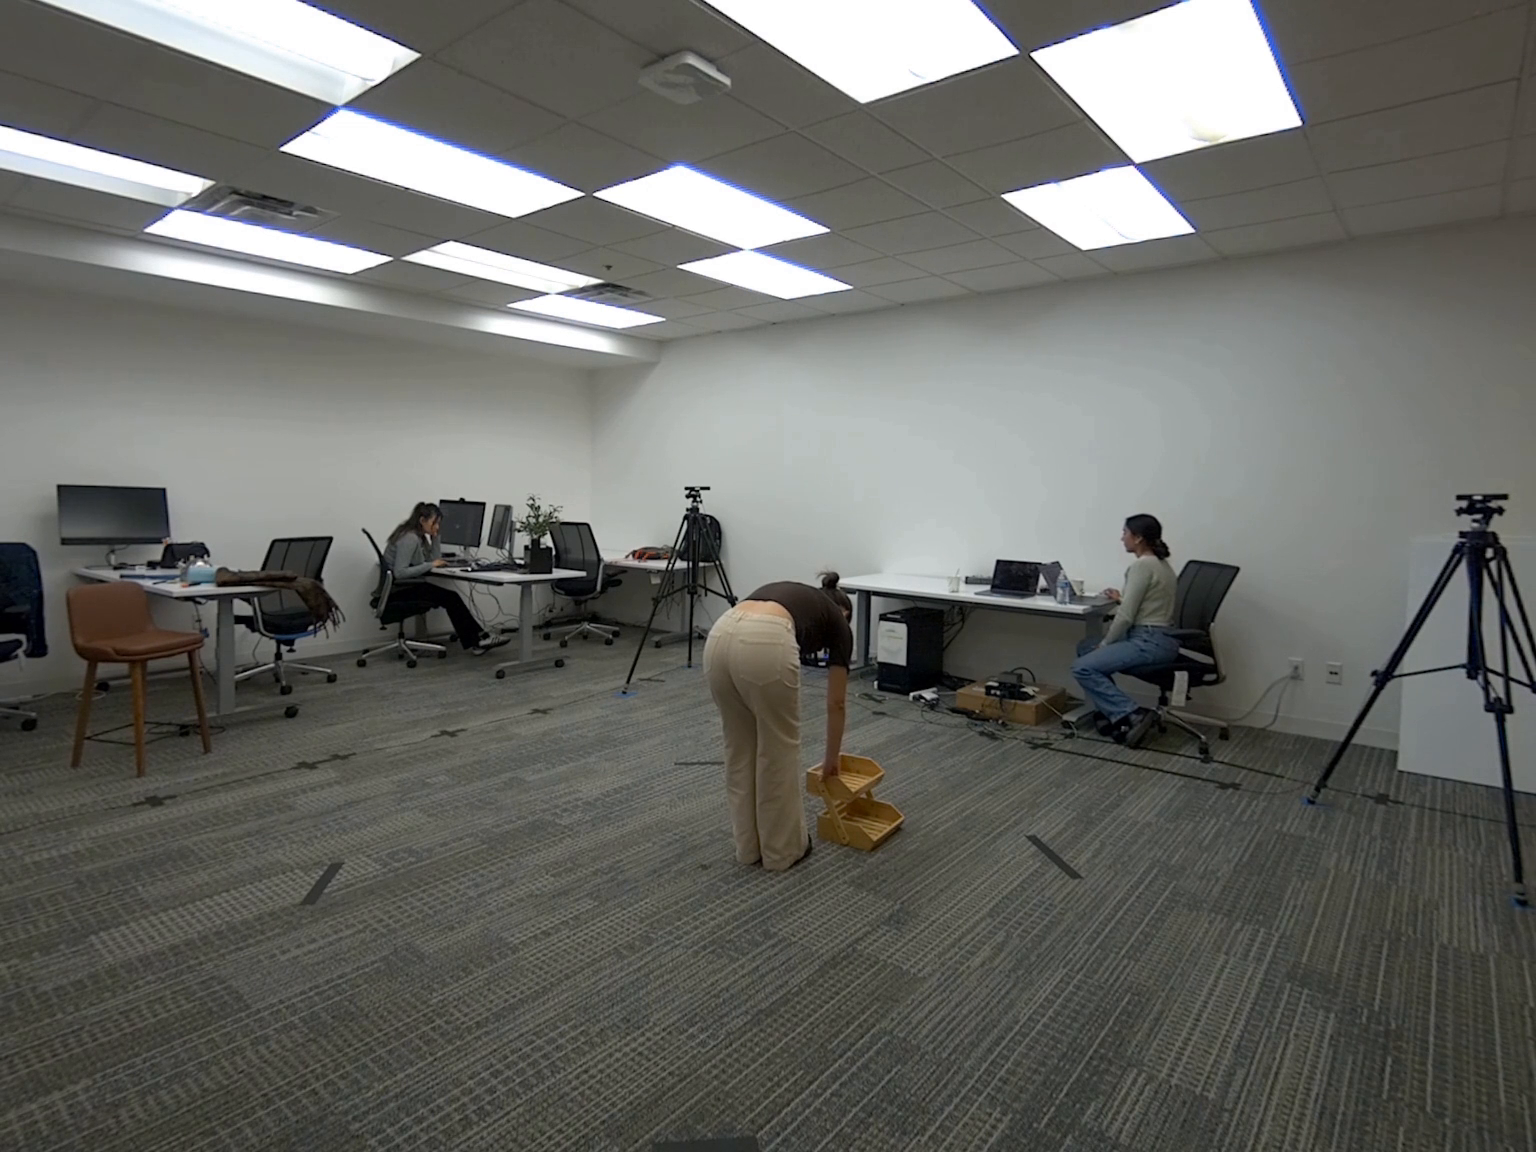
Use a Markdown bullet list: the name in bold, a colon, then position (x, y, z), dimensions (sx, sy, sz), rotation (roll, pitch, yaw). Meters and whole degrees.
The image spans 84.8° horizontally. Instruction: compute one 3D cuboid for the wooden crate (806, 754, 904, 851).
- **wooden crate**: position (0.351, 0.903, 3.464), dimensions (0.311, 0.272, 0.315), rotation (3, 5, 34)
